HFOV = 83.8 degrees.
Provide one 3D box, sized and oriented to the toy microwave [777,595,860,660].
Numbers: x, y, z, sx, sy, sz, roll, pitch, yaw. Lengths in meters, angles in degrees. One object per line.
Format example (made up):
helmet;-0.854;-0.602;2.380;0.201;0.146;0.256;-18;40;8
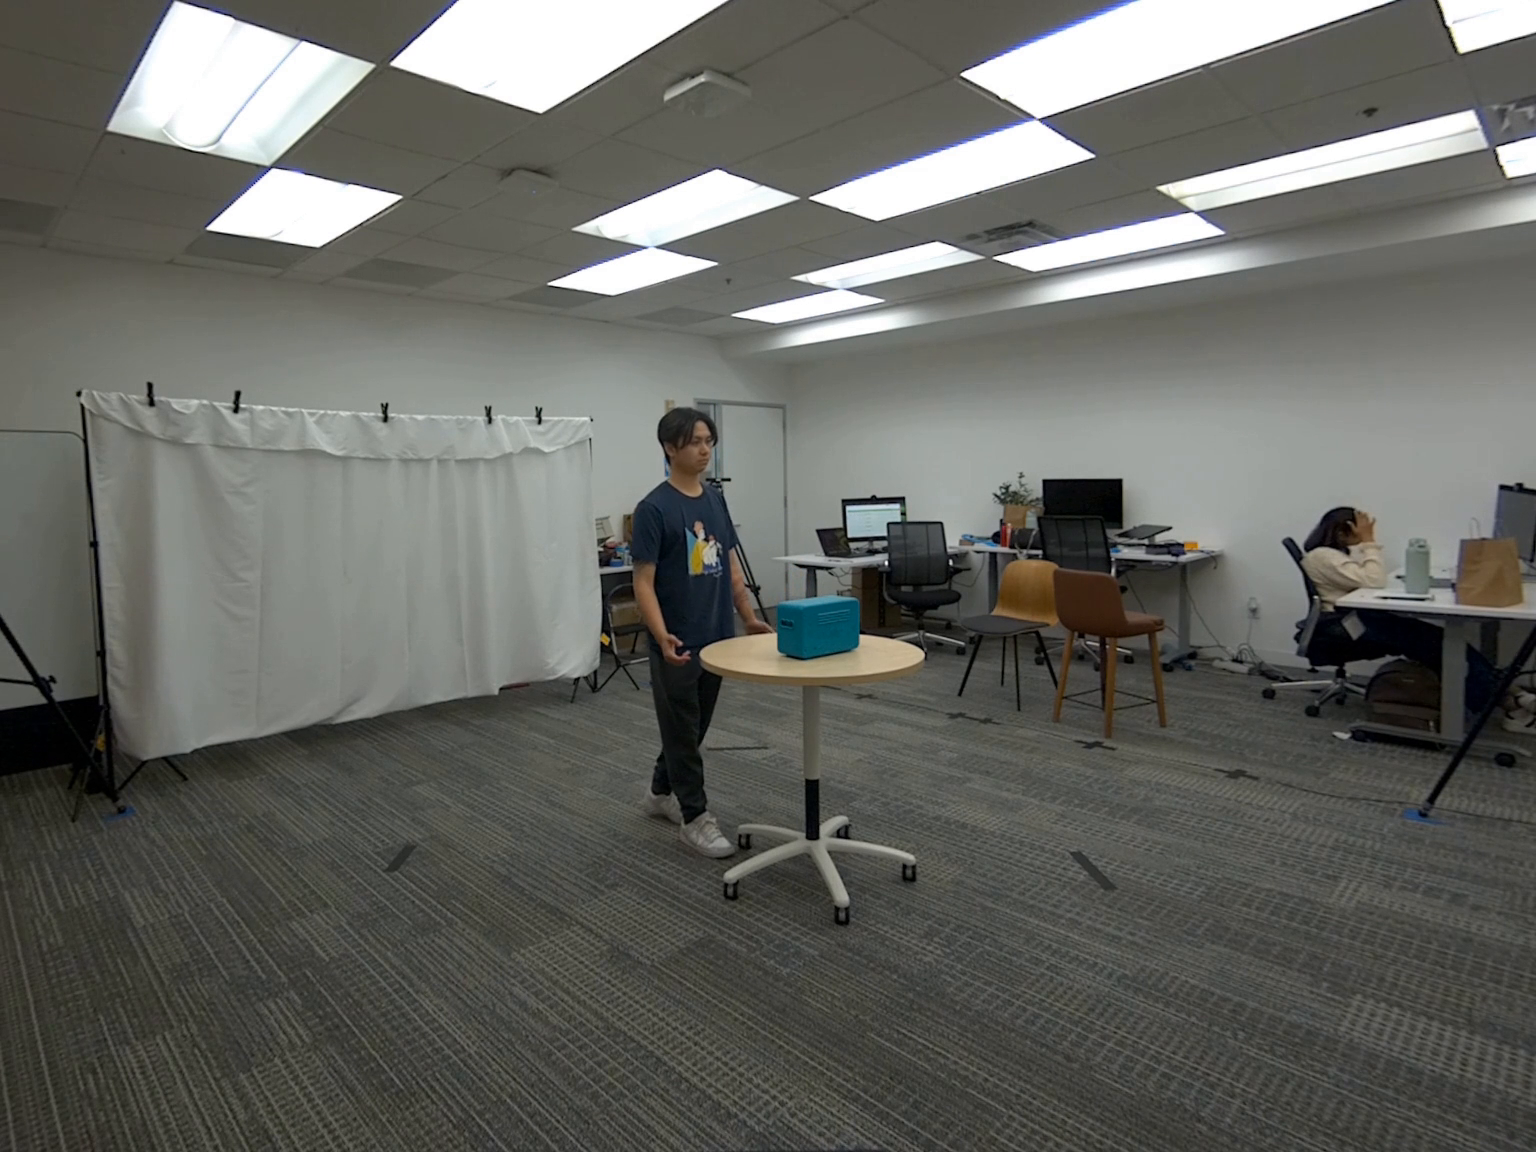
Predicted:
toy microwave;0.170;0.170;2.920;0.279;0.183;0.157;-6;6;-39
